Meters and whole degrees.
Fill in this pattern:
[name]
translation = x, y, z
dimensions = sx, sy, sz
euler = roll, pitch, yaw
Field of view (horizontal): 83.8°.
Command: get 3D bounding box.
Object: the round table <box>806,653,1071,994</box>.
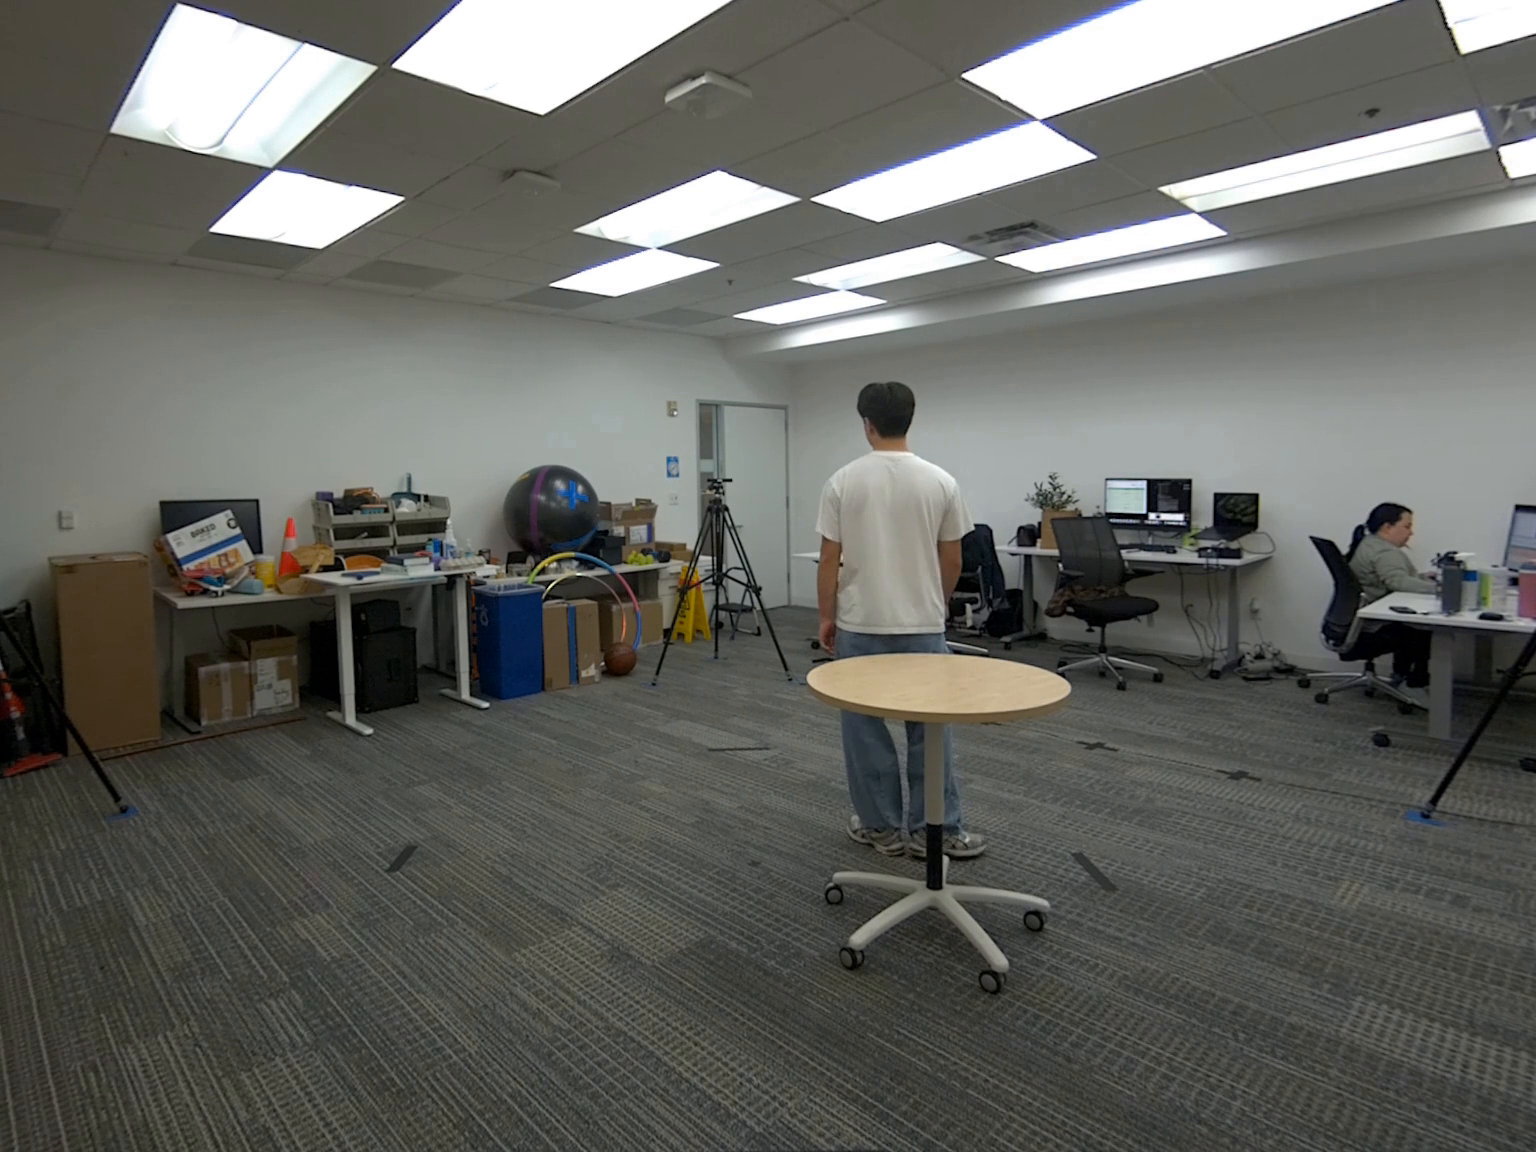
[round table]
translation = 0.506, 0.707, 2.602
dimensions = 0.763, 0.791, 0.768
euler = -1, 5, -2
